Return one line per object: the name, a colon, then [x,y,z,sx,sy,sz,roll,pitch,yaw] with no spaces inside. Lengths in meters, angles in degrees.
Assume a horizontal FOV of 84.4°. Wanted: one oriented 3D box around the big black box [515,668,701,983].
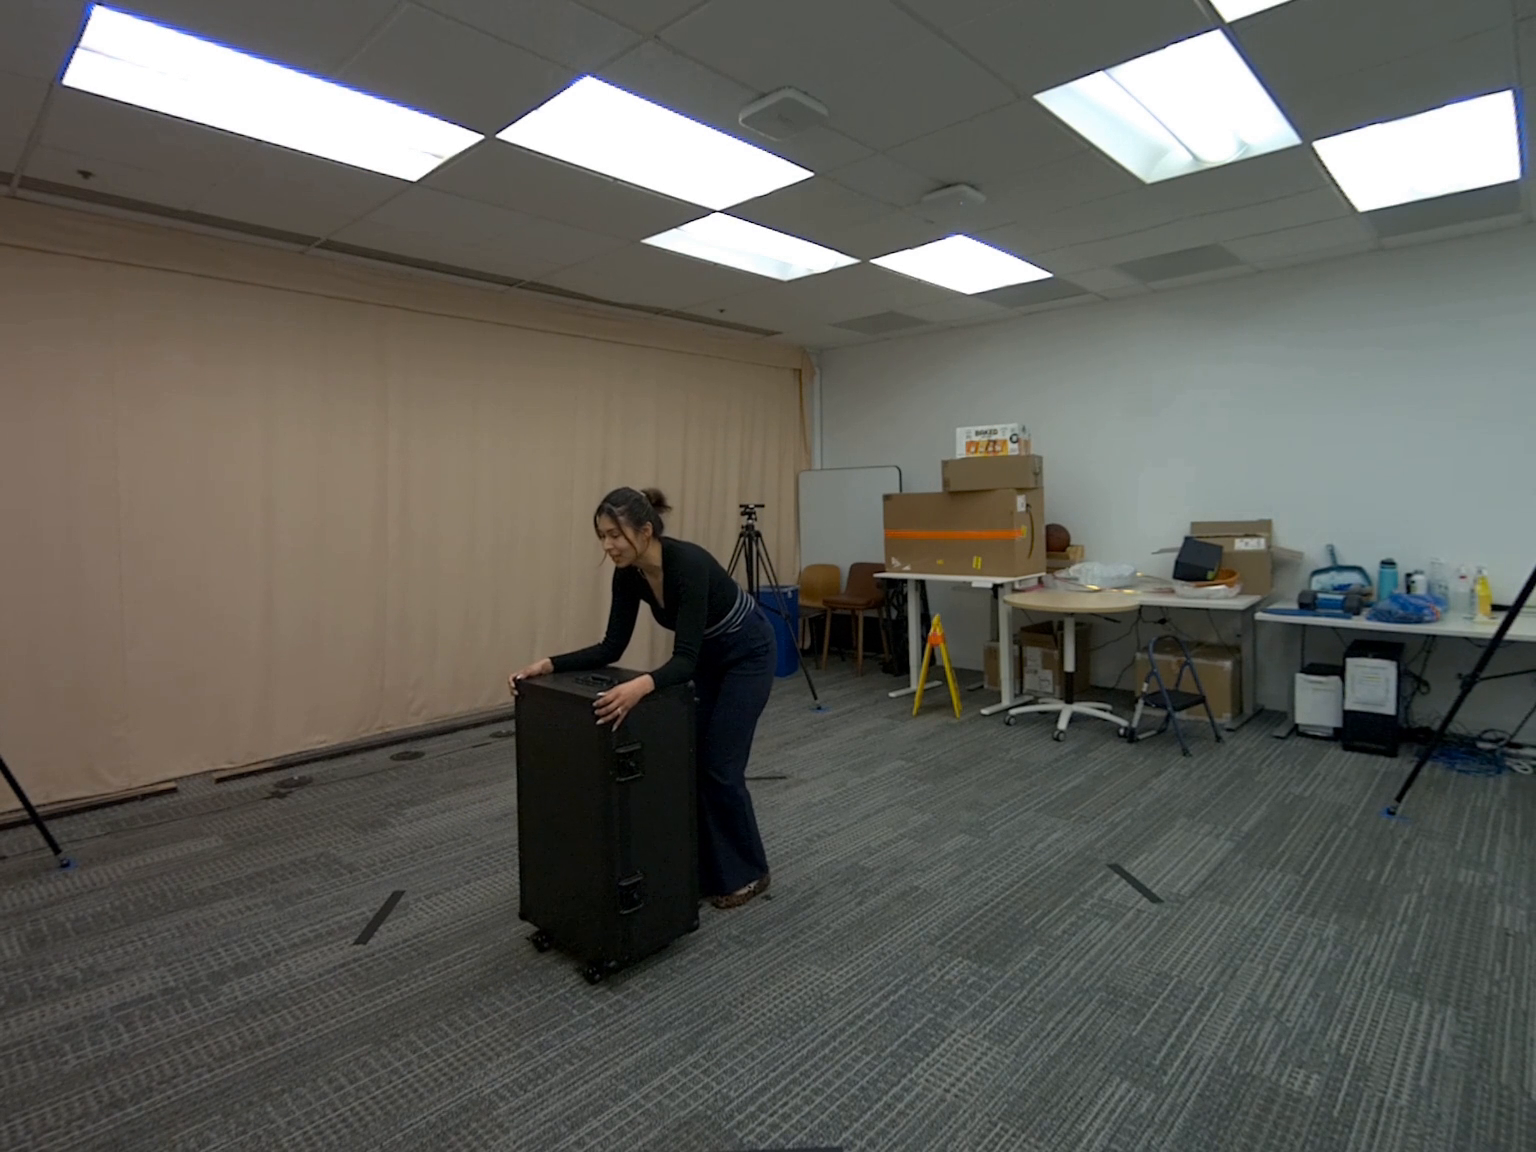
big black box: [-0.516,0.755,2.671,0.538,0.860,0.384,2,2,44]
